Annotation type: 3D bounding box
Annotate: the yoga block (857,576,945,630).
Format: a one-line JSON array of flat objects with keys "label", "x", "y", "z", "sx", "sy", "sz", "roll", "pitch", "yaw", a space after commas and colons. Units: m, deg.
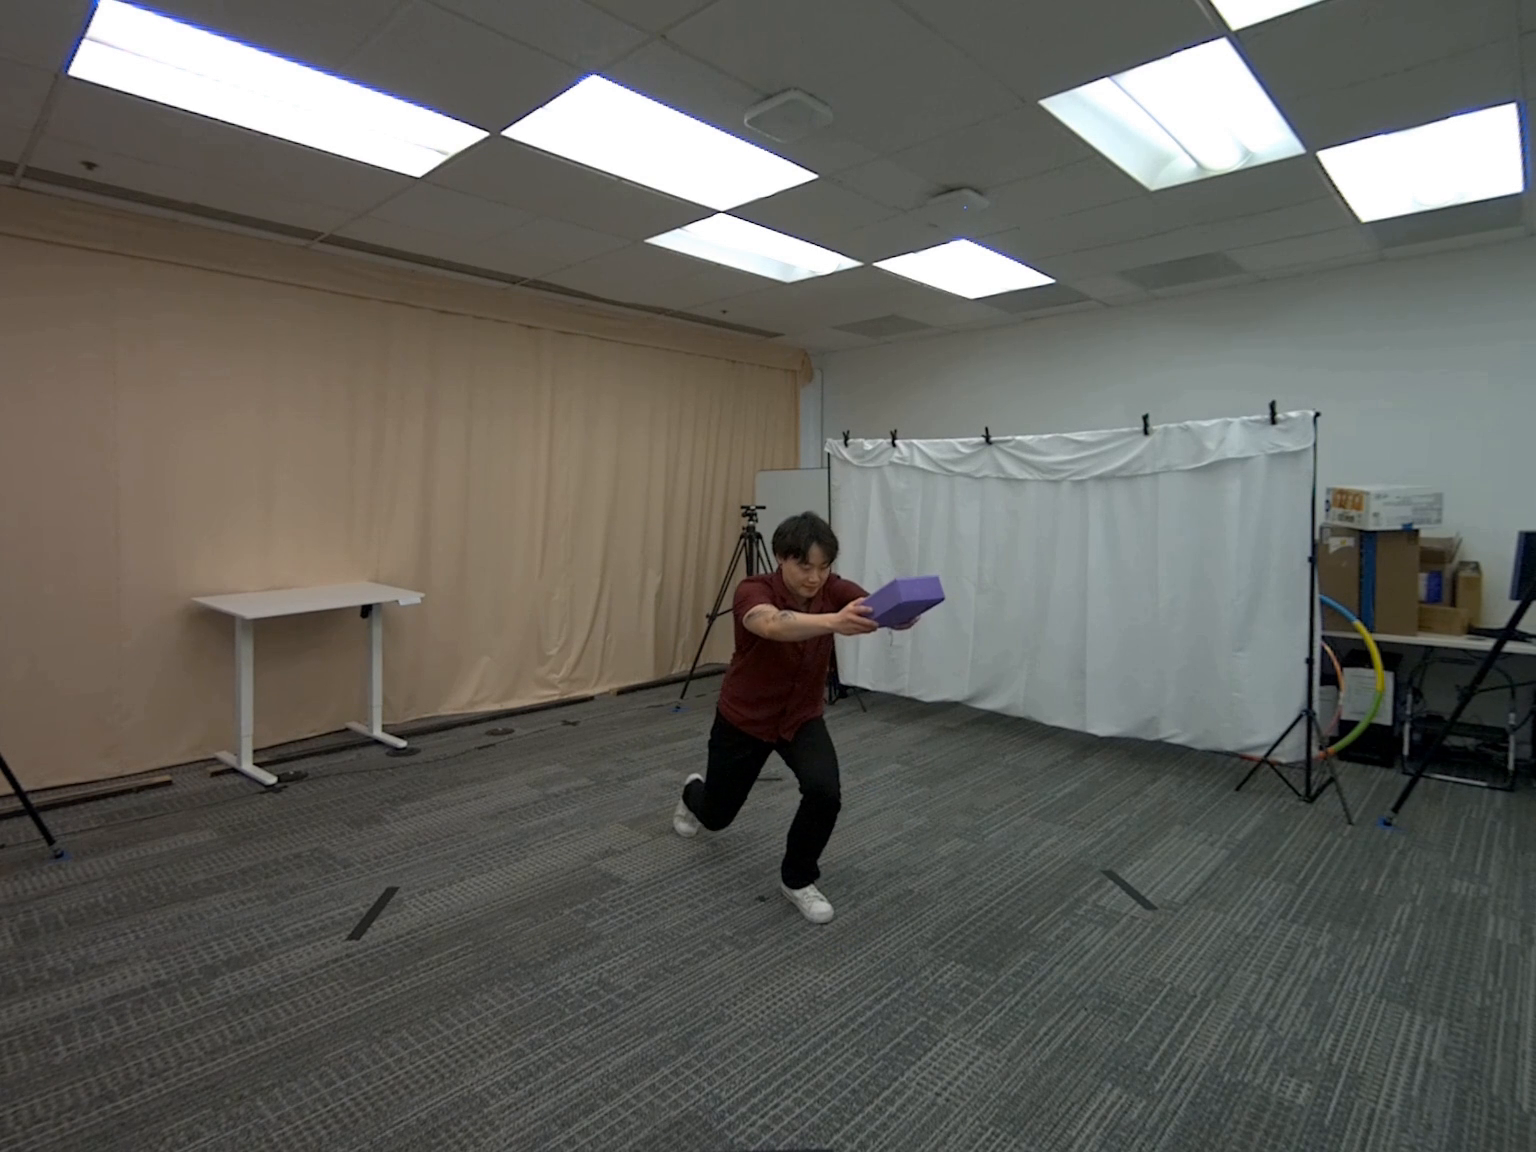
[{"label": "yoga block", "x": 0.360, "y": 0.073, "z": 2.316, "sx": 0.146, "sy": 0.077, "sz": 0.231, "roll": -2, "pitch": -20, "yaw": -23}]
